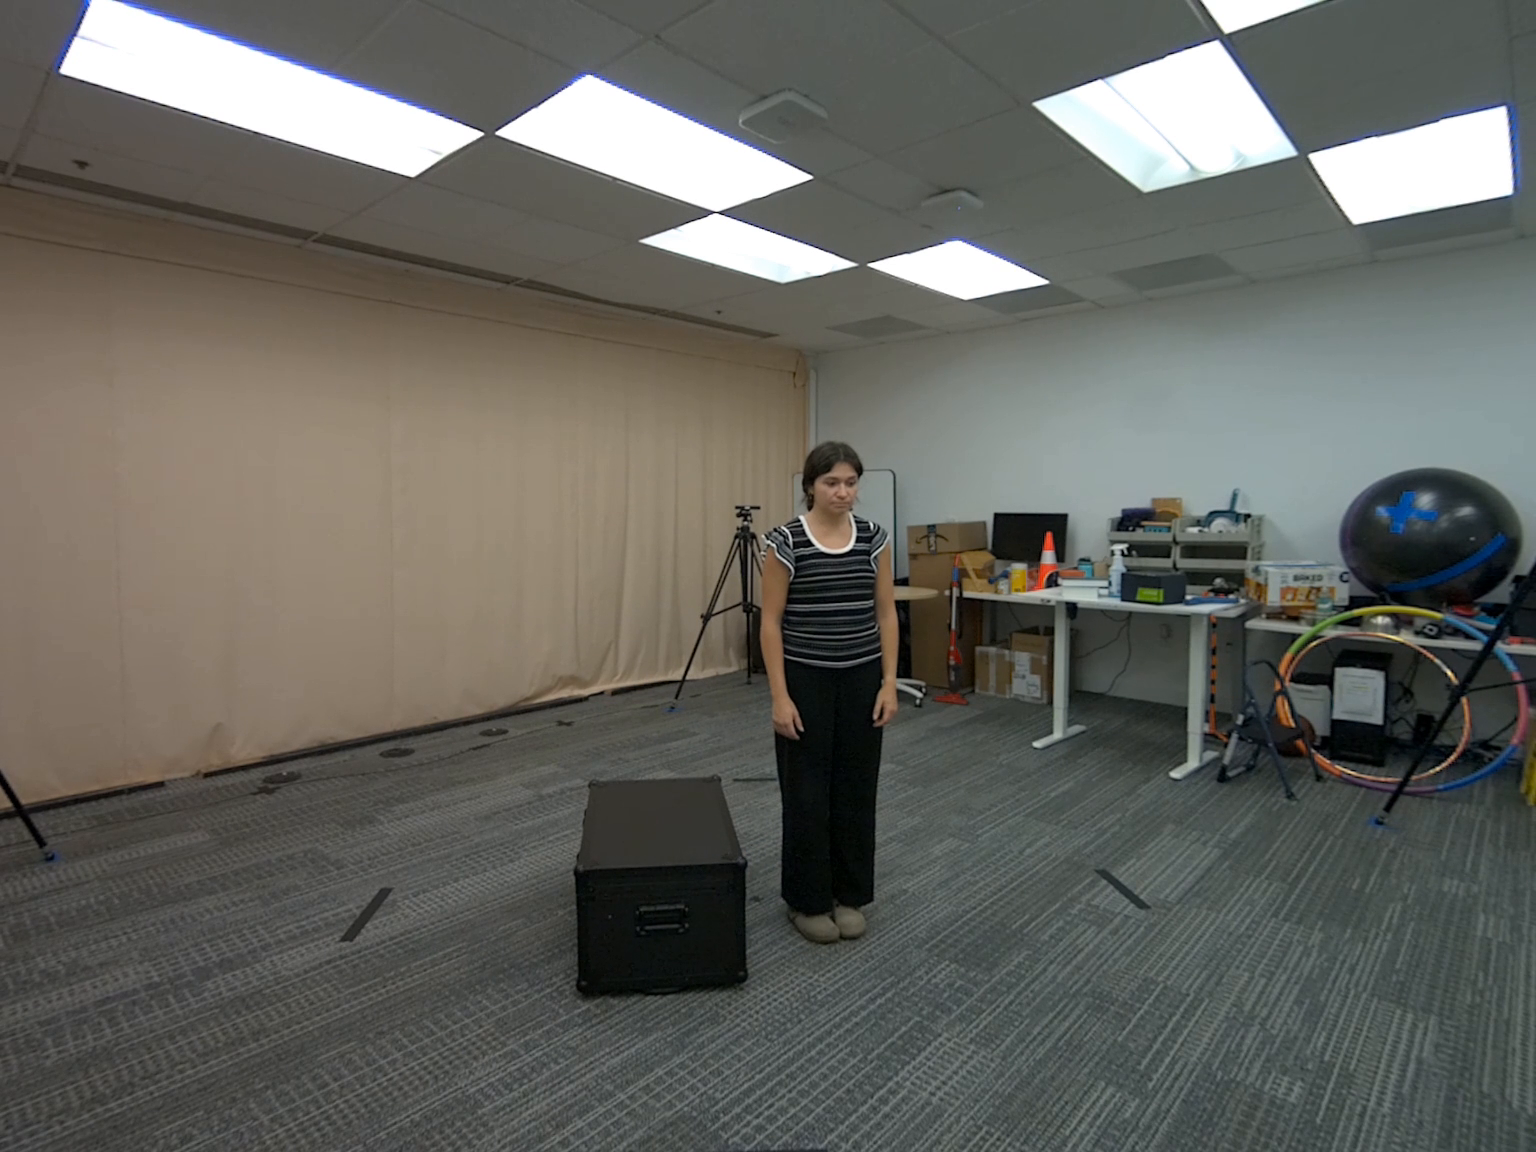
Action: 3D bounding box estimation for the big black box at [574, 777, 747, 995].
[{"bbox_3d":[-0.359,0.968,2.803,0.517,0.395,0.870,0,4,-9],"label":"big black box"}]
